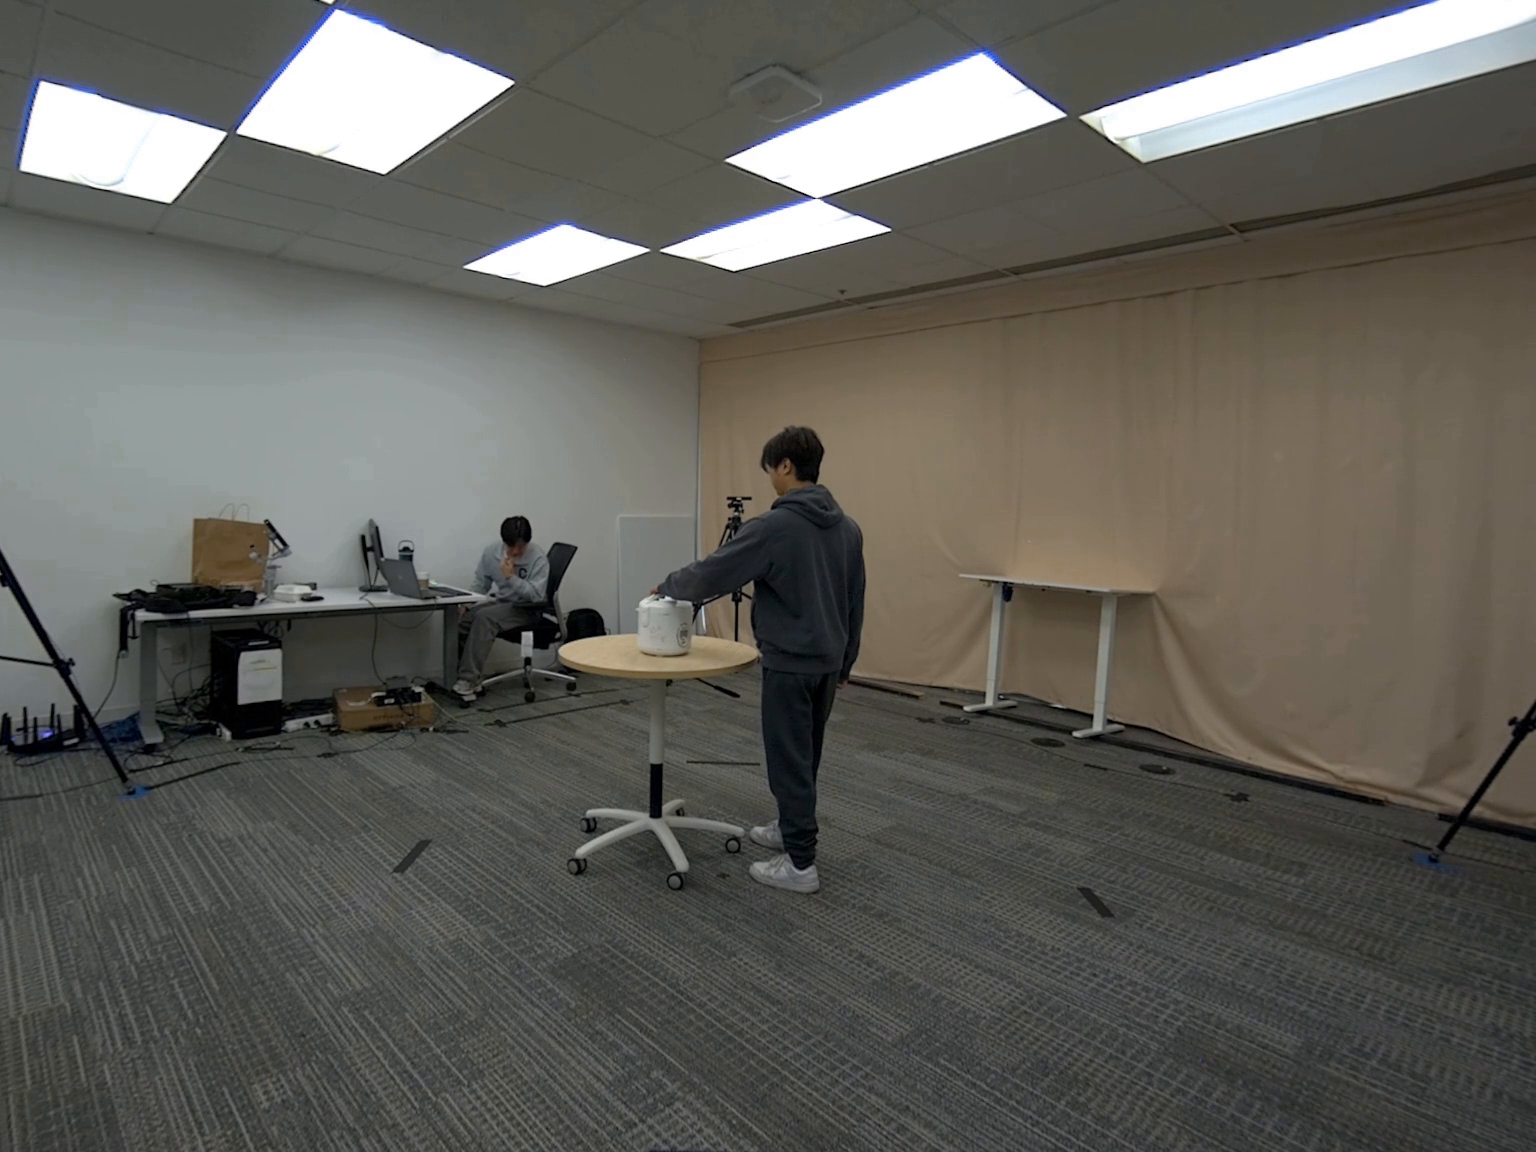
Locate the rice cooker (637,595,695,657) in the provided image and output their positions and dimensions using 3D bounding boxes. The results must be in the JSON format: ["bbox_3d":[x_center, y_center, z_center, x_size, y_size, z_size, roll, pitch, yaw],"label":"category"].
[{"bbox_3d":[-0.391,0.177,3.217,0.223,0.232,0.216,6,7,43],"label":"rice cooker"}]
